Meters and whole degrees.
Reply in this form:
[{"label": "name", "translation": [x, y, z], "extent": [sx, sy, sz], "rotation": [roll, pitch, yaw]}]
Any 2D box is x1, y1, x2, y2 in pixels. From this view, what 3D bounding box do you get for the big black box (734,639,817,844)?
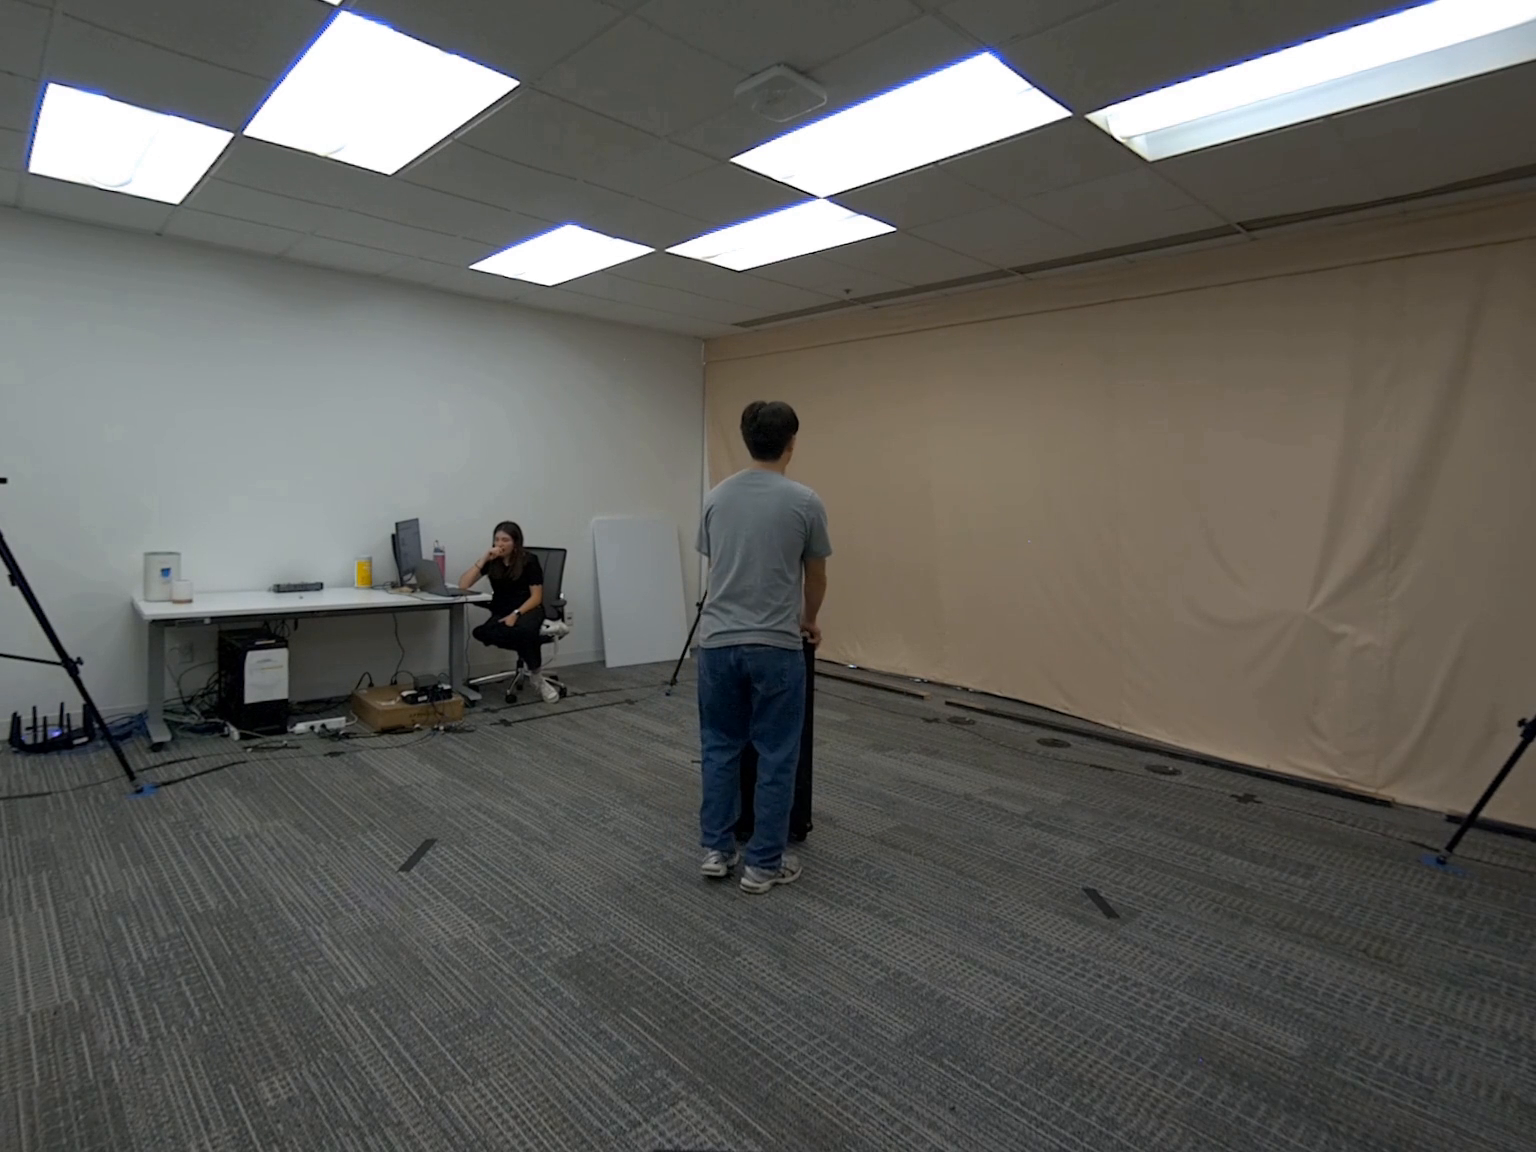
[{"label": "big black box", "translation": [-0.033, 0.650, 3.561], "extent": [0.395, 0.859, 0.524], "rotation": [1, 3, -4]}]
